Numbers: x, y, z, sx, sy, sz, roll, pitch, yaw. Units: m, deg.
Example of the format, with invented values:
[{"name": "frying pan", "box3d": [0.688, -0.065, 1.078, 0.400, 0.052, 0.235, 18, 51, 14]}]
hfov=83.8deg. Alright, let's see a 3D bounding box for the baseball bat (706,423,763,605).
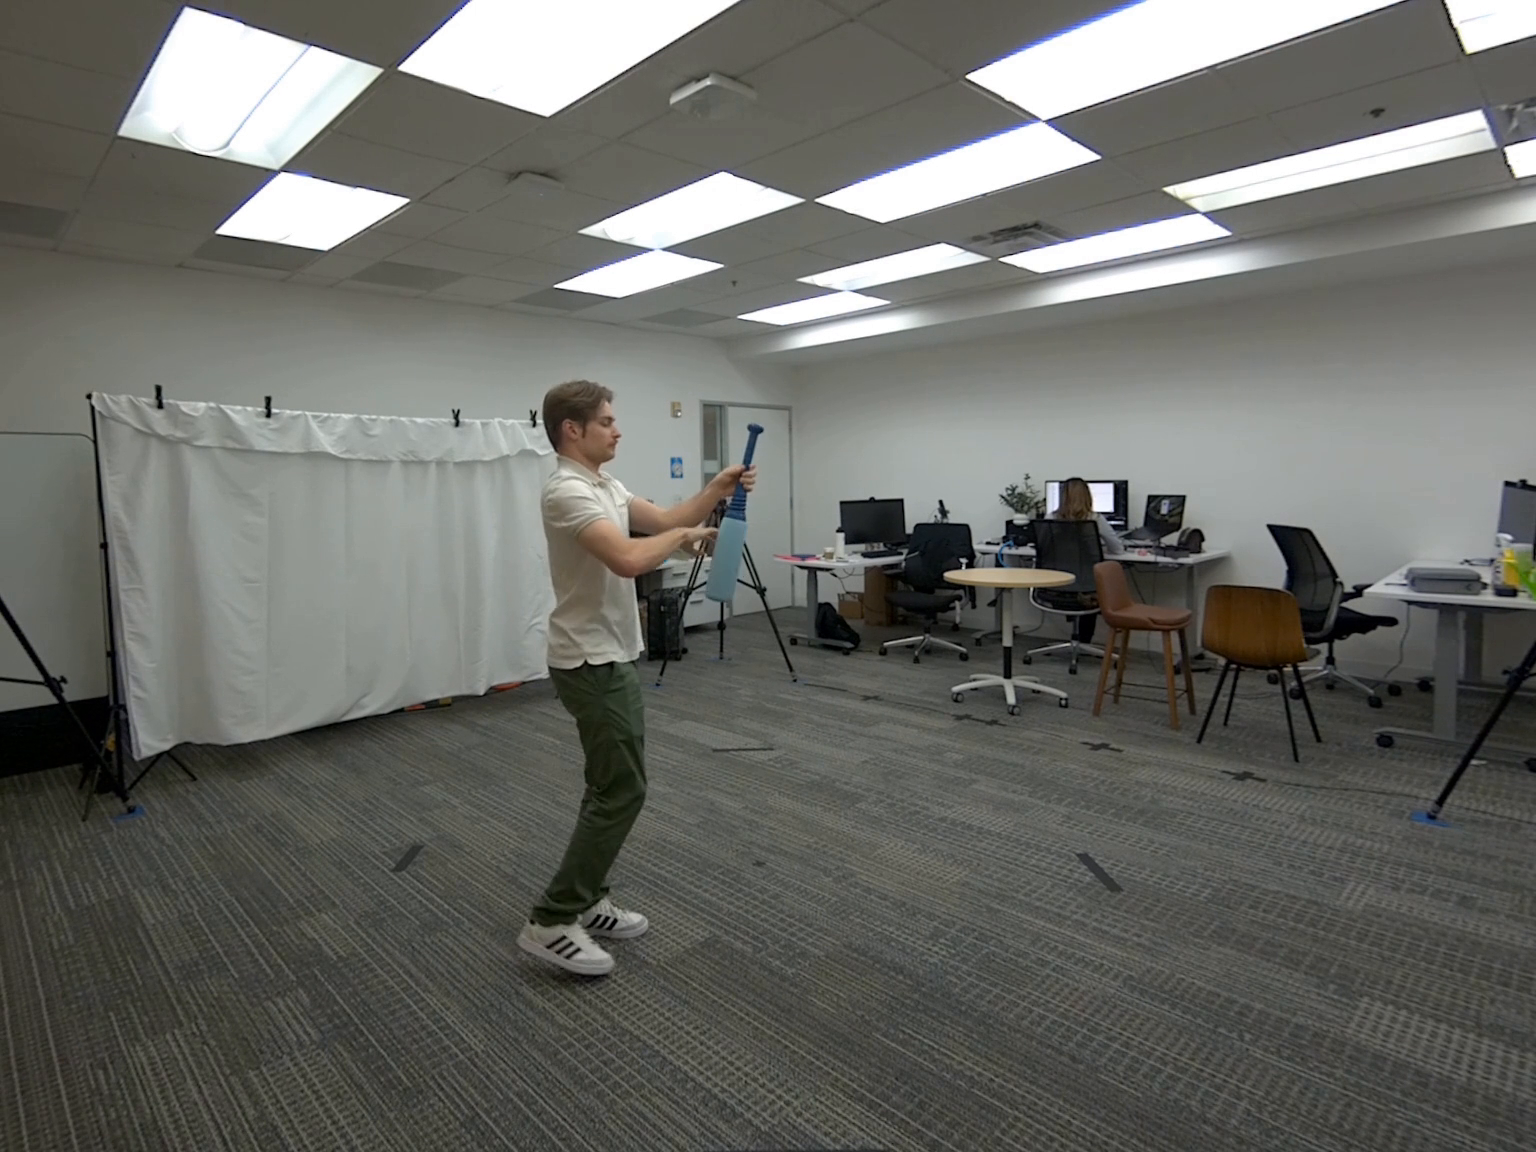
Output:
[{"name": "baseball bat", "box3d": [-0.096, -0.193, 2.554, 0.089, 0.542, 0.089, 11, 1, -2]}]
